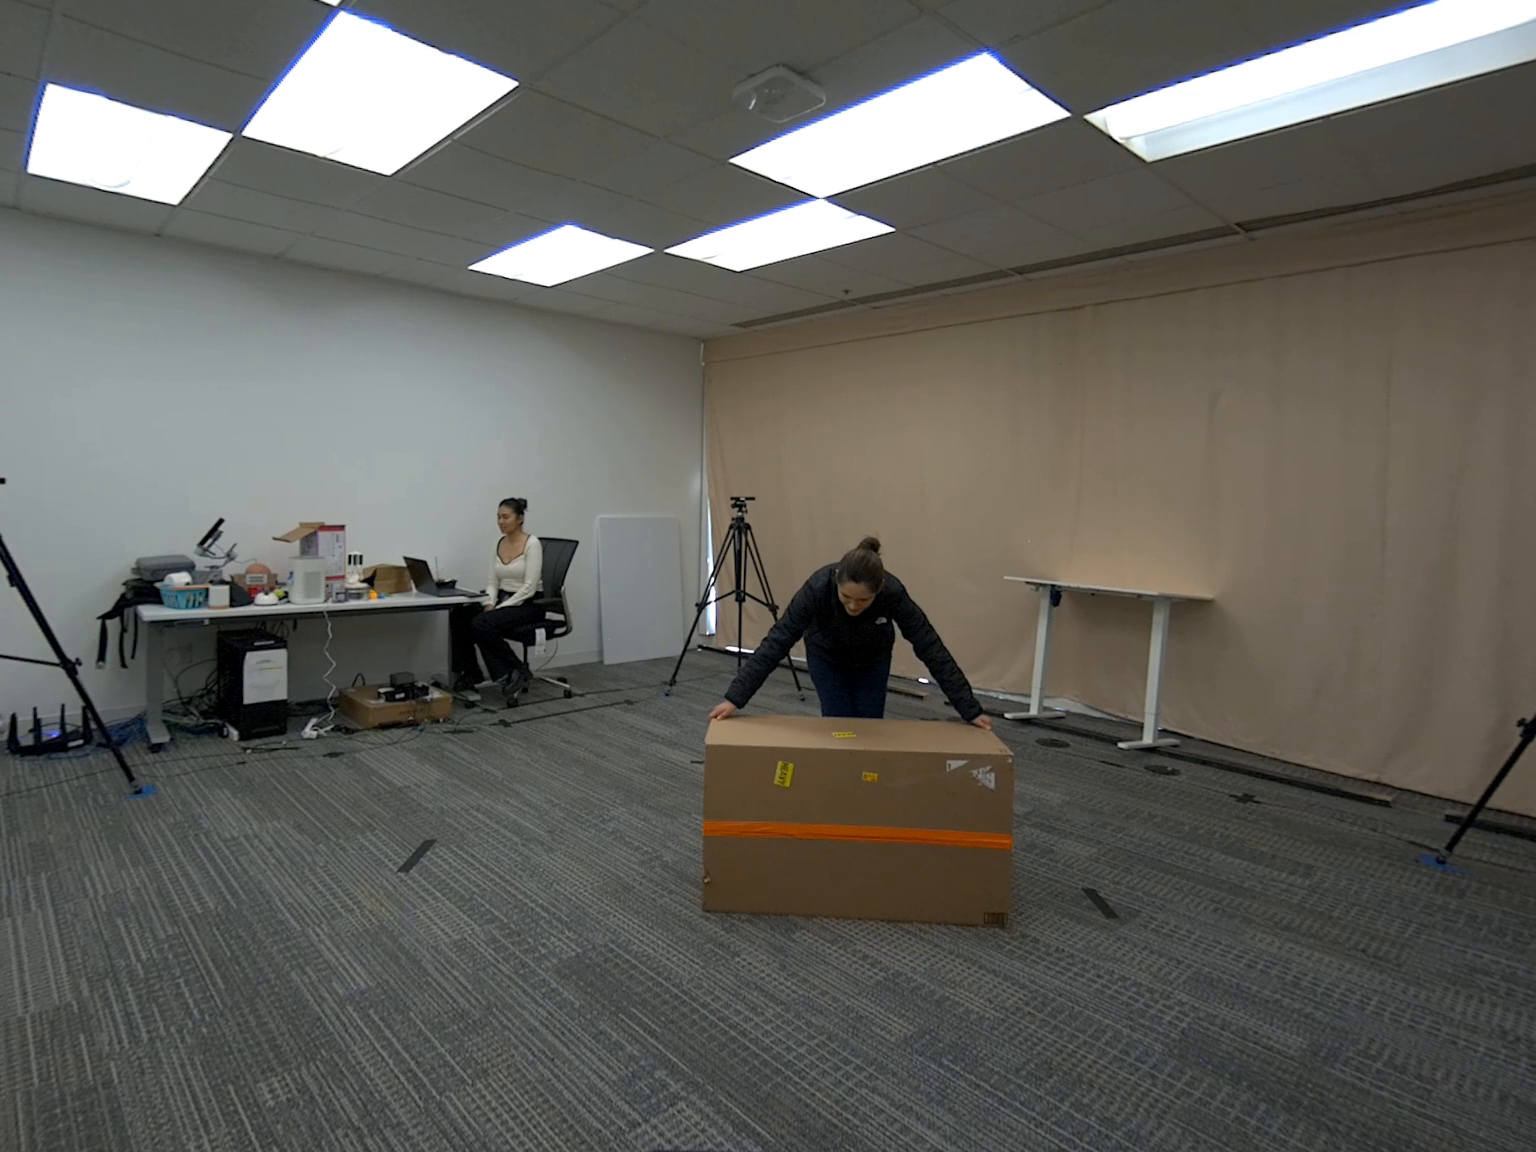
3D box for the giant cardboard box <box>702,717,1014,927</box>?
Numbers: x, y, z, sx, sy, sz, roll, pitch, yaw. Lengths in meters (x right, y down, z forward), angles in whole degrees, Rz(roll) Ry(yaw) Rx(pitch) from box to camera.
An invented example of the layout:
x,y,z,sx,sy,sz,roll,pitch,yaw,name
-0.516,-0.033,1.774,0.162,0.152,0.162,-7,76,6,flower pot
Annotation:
x,y,z,sx,sy,sz,roll,pitch,yaw,name
0.289,0.840,2.980,1.029,0.582,0.447,1,4,2,giant cardboard box
